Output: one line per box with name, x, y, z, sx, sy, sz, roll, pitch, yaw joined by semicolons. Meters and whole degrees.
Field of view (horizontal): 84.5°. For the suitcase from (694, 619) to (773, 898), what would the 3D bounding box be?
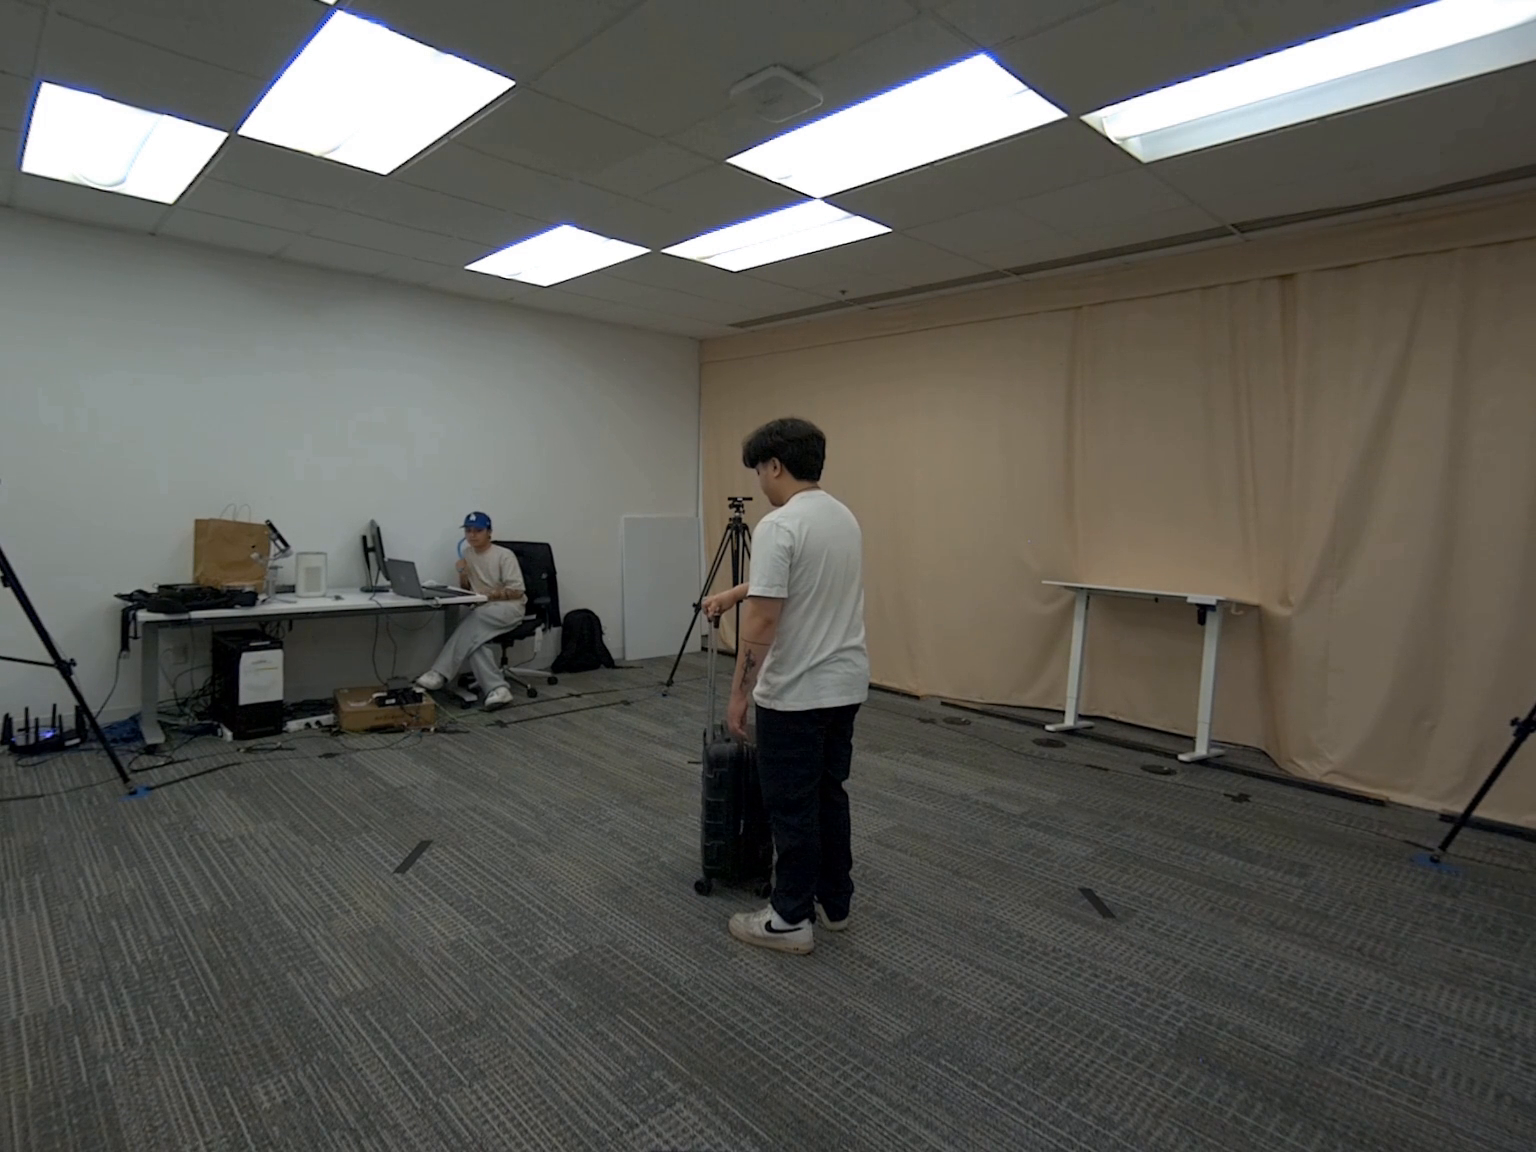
suitcase;-0.121;0.636;3.082;0.256;0.975;0.386;3;5;-3
